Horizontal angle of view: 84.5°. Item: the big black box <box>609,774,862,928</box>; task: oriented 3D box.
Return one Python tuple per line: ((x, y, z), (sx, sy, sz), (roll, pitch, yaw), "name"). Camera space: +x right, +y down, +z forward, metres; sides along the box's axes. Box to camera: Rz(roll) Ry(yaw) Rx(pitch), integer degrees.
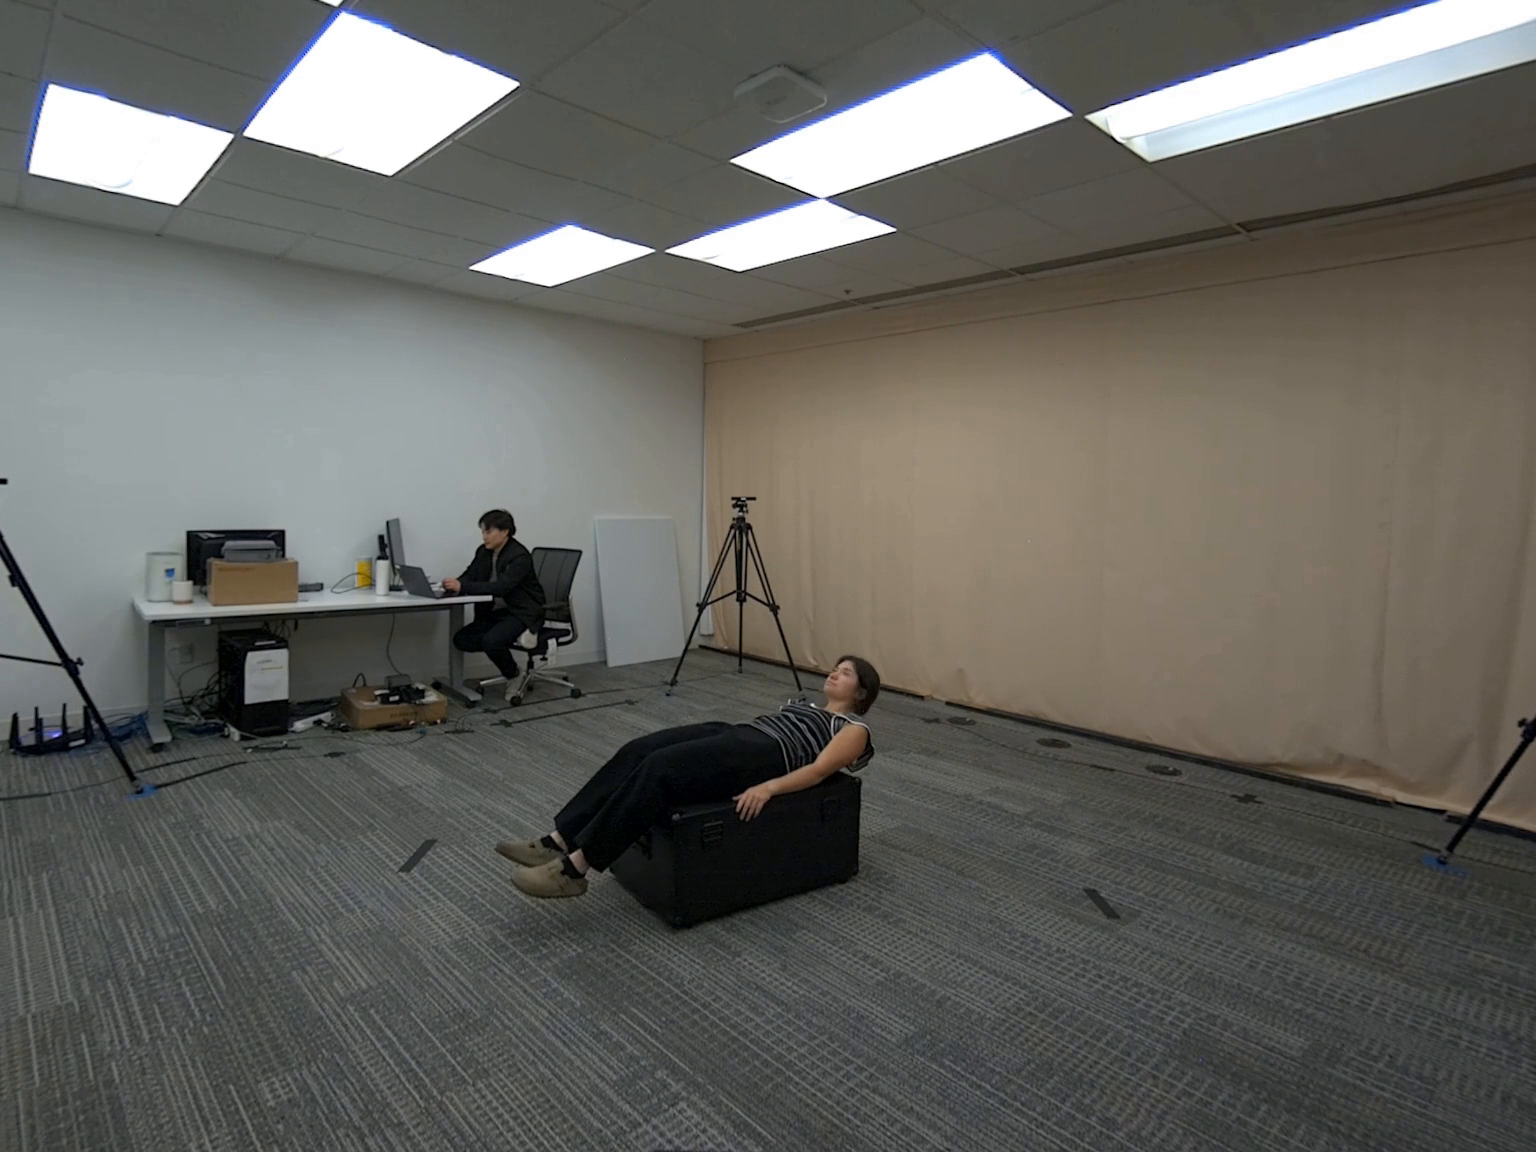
((-0.094, 0.927, 3.090), (0.843, 0.395, 0.534), (-3, 5, -34), "big black box")
